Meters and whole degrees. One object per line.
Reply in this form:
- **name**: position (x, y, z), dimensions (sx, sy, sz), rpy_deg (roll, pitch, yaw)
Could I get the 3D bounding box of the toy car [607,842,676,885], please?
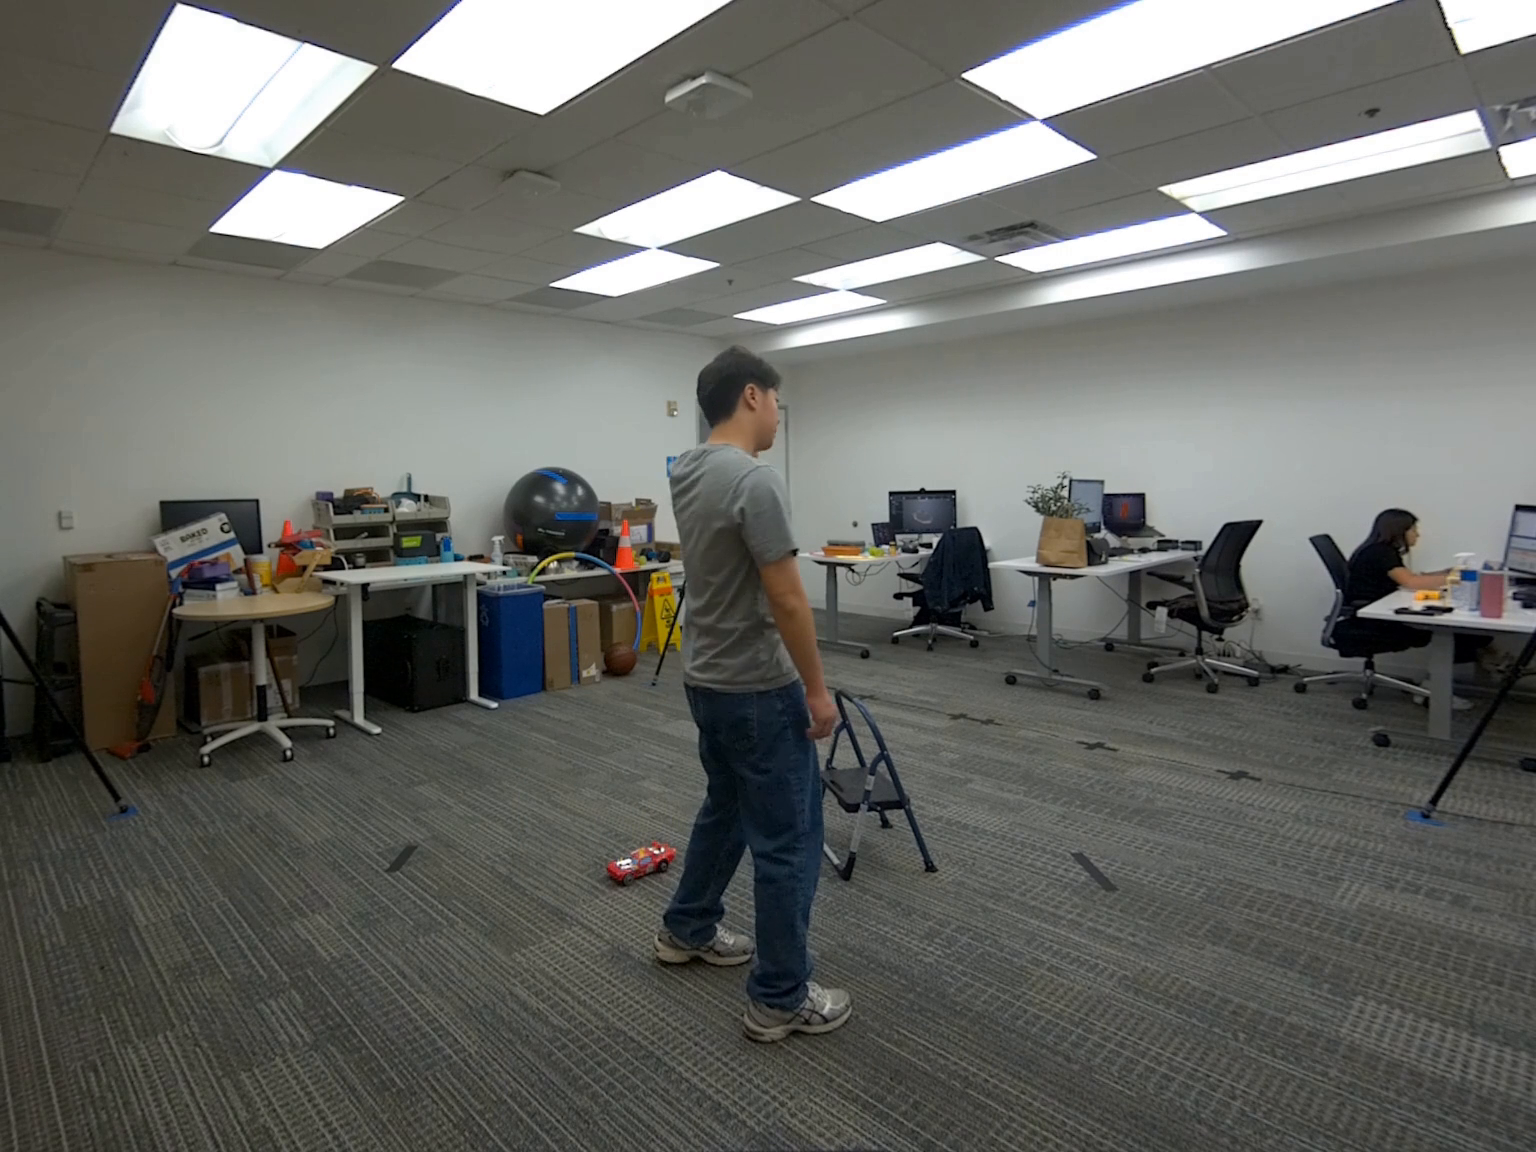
- **toy car**: position (-0.445, 1.026, 3.051), dimensions (0.250, 0.082, 0.134), rpy_deg (-20, 16, -37)
